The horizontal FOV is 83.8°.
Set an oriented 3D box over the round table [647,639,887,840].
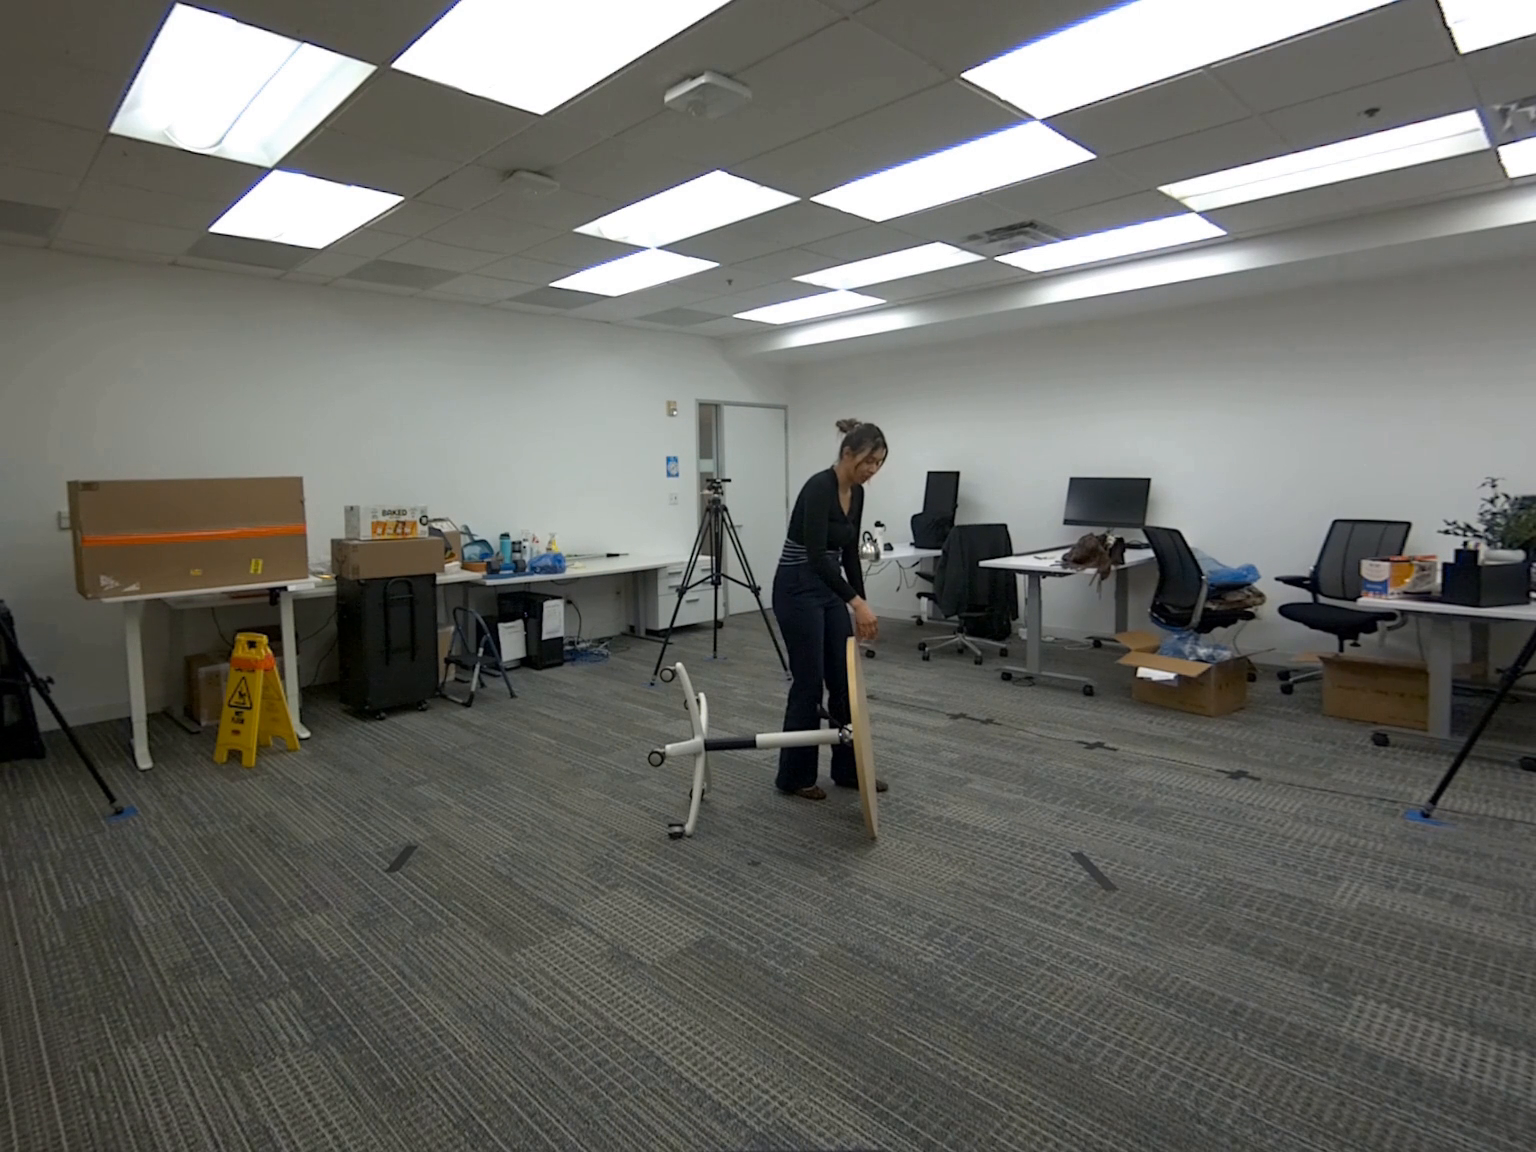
[{"bbox_3d":[-0.004,0.670,3.447,0.801,0.762,0.760,-6,4,9],"label":"round table"}]
